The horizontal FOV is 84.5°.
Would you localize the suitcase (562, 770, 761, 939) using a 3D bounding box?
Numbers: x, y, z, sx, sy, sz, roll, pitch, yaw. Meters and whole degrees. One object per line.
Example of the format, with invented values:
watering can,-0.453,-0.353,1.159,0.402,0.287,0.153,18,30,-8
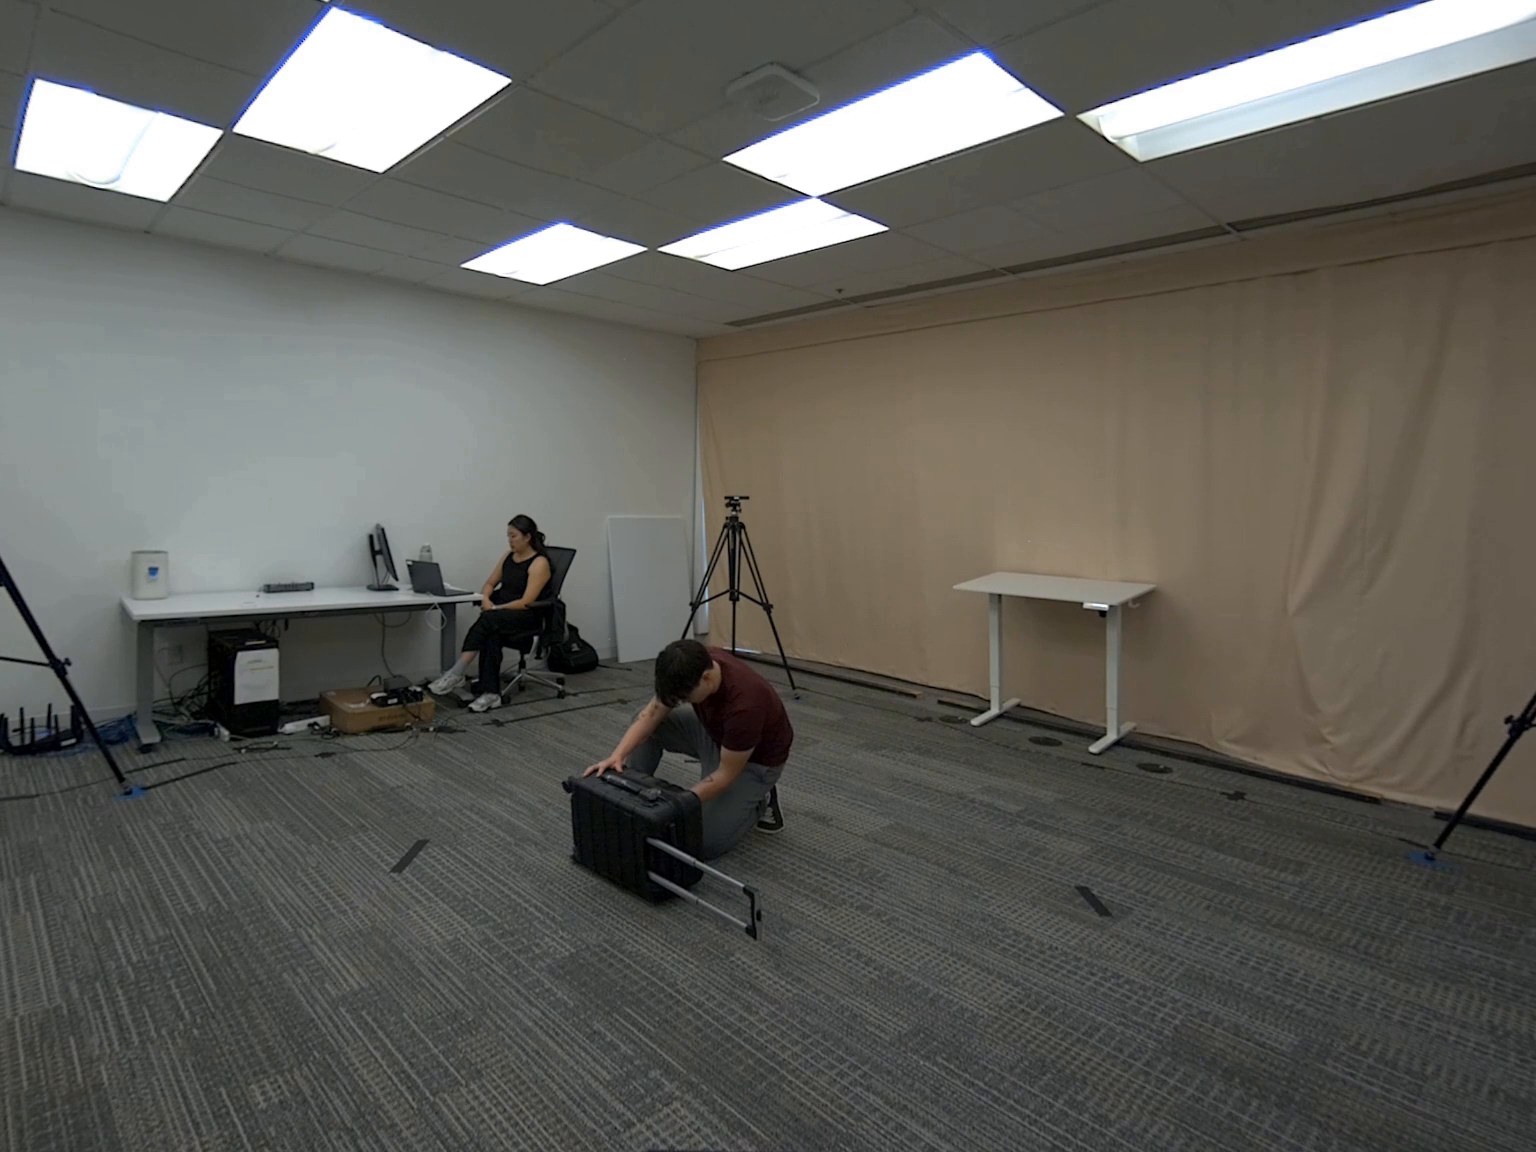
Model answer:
suitcase,-0.337,0.932,2.892,1.004,0.381,0.252,7,12,42
